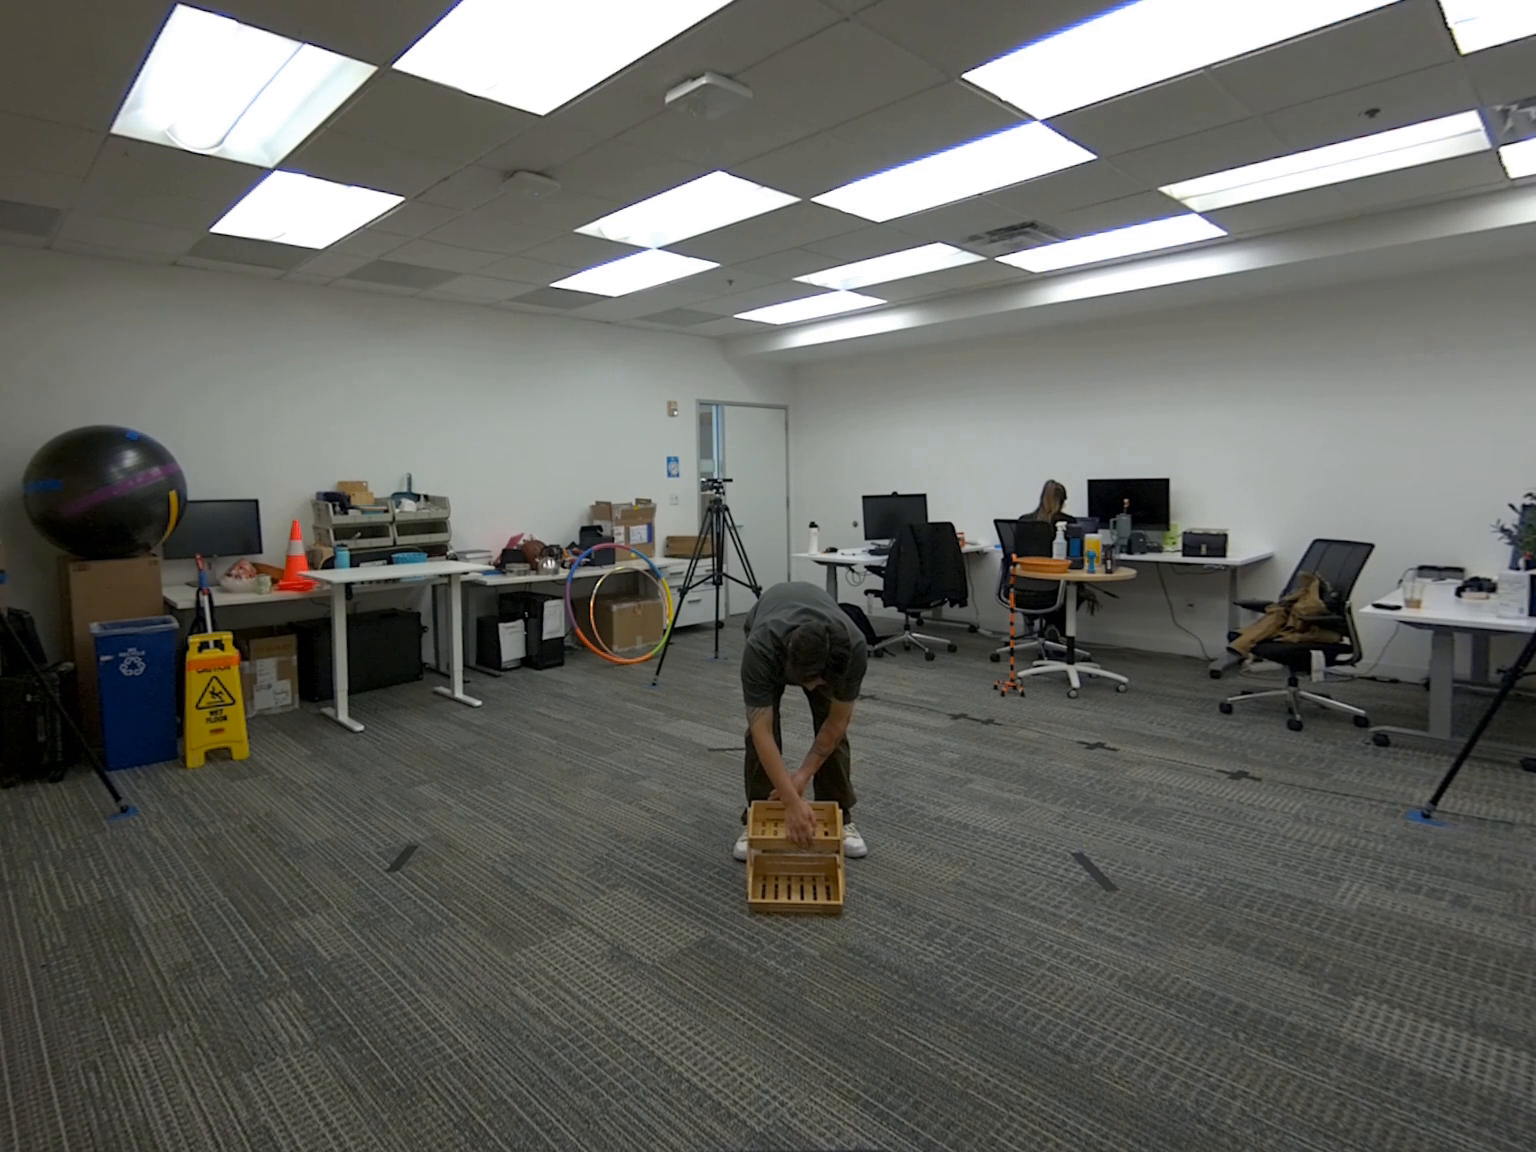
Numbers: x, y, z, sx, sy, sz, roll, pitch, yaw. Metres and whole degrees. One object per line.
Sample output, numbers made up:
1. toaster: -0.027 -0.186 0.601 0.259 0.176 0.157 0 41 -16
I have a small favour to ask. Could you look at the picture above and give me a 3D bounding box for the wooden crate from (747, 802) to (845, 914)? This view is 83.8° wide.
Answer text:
1. wooden crate: 0.096 0.944 2.848 0.325 0.272 0.302 -1 5 2
